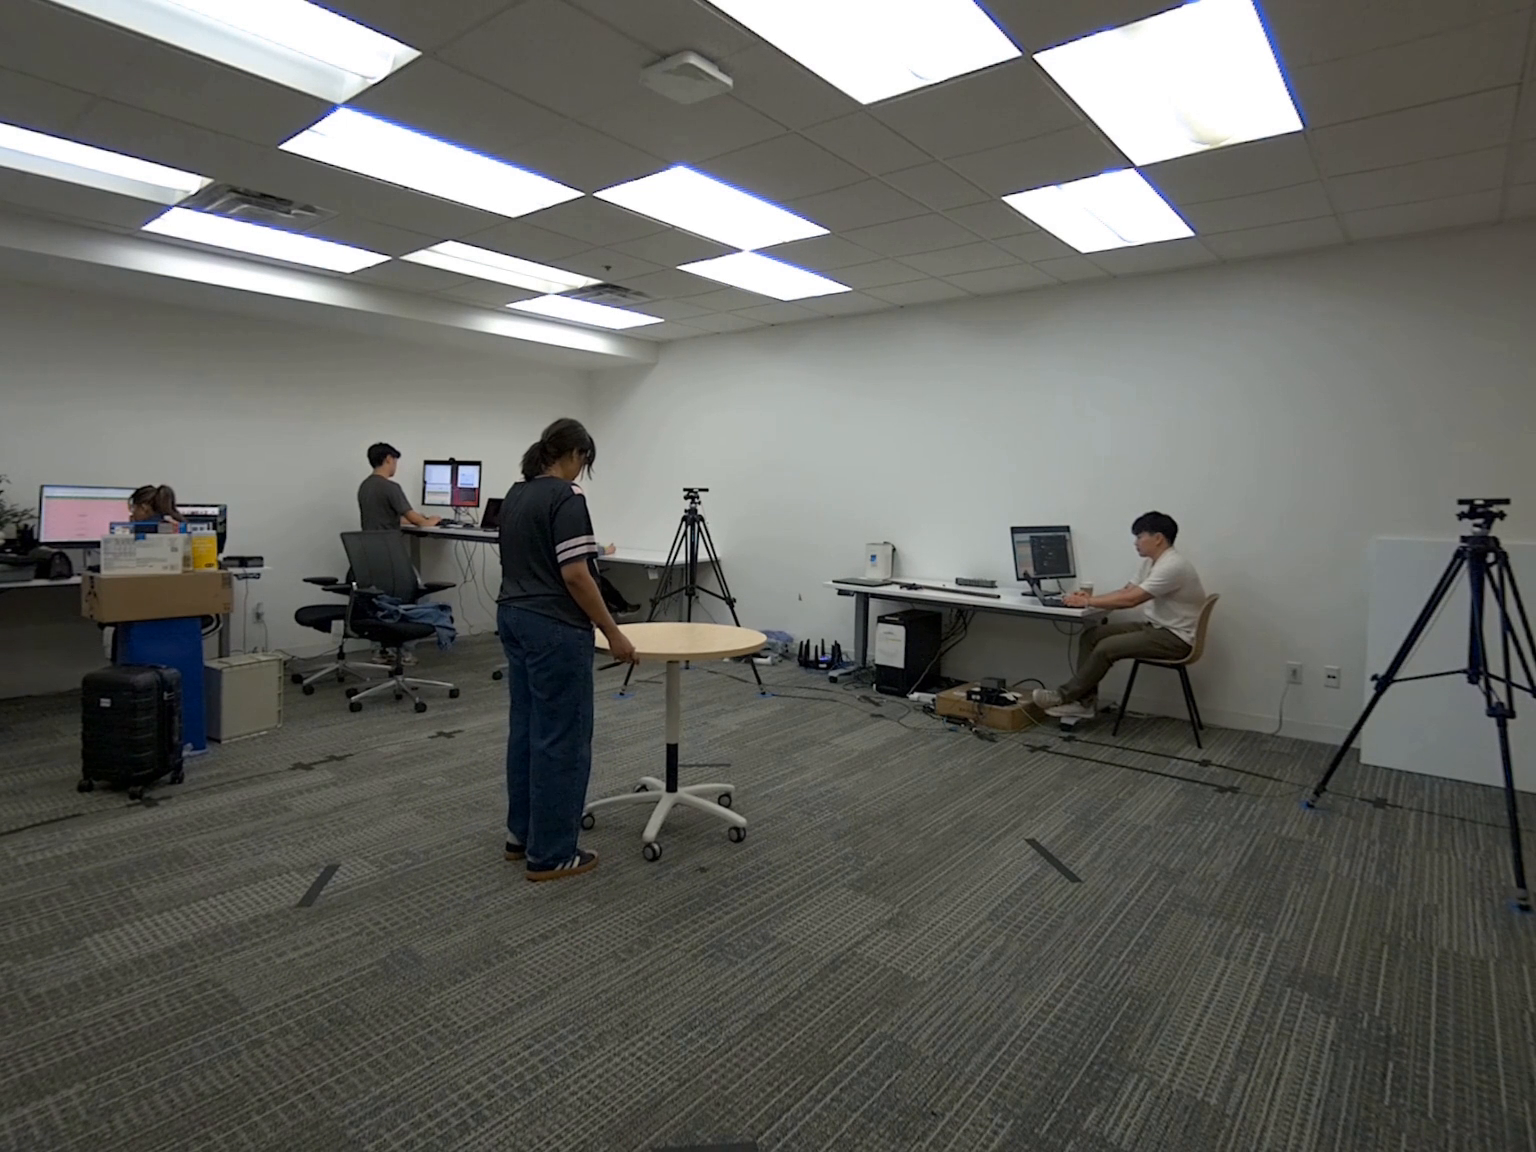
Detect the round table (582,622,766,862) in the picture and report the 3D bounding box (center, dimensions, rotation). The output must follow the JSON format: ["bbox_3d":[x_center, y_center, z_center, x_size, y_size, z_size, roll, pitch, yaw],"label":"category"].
[{"bbox_3d":[-0.401,0.638,3.504,0.763,0.792,0.767,1,4,-2],"label":"round table"}]
